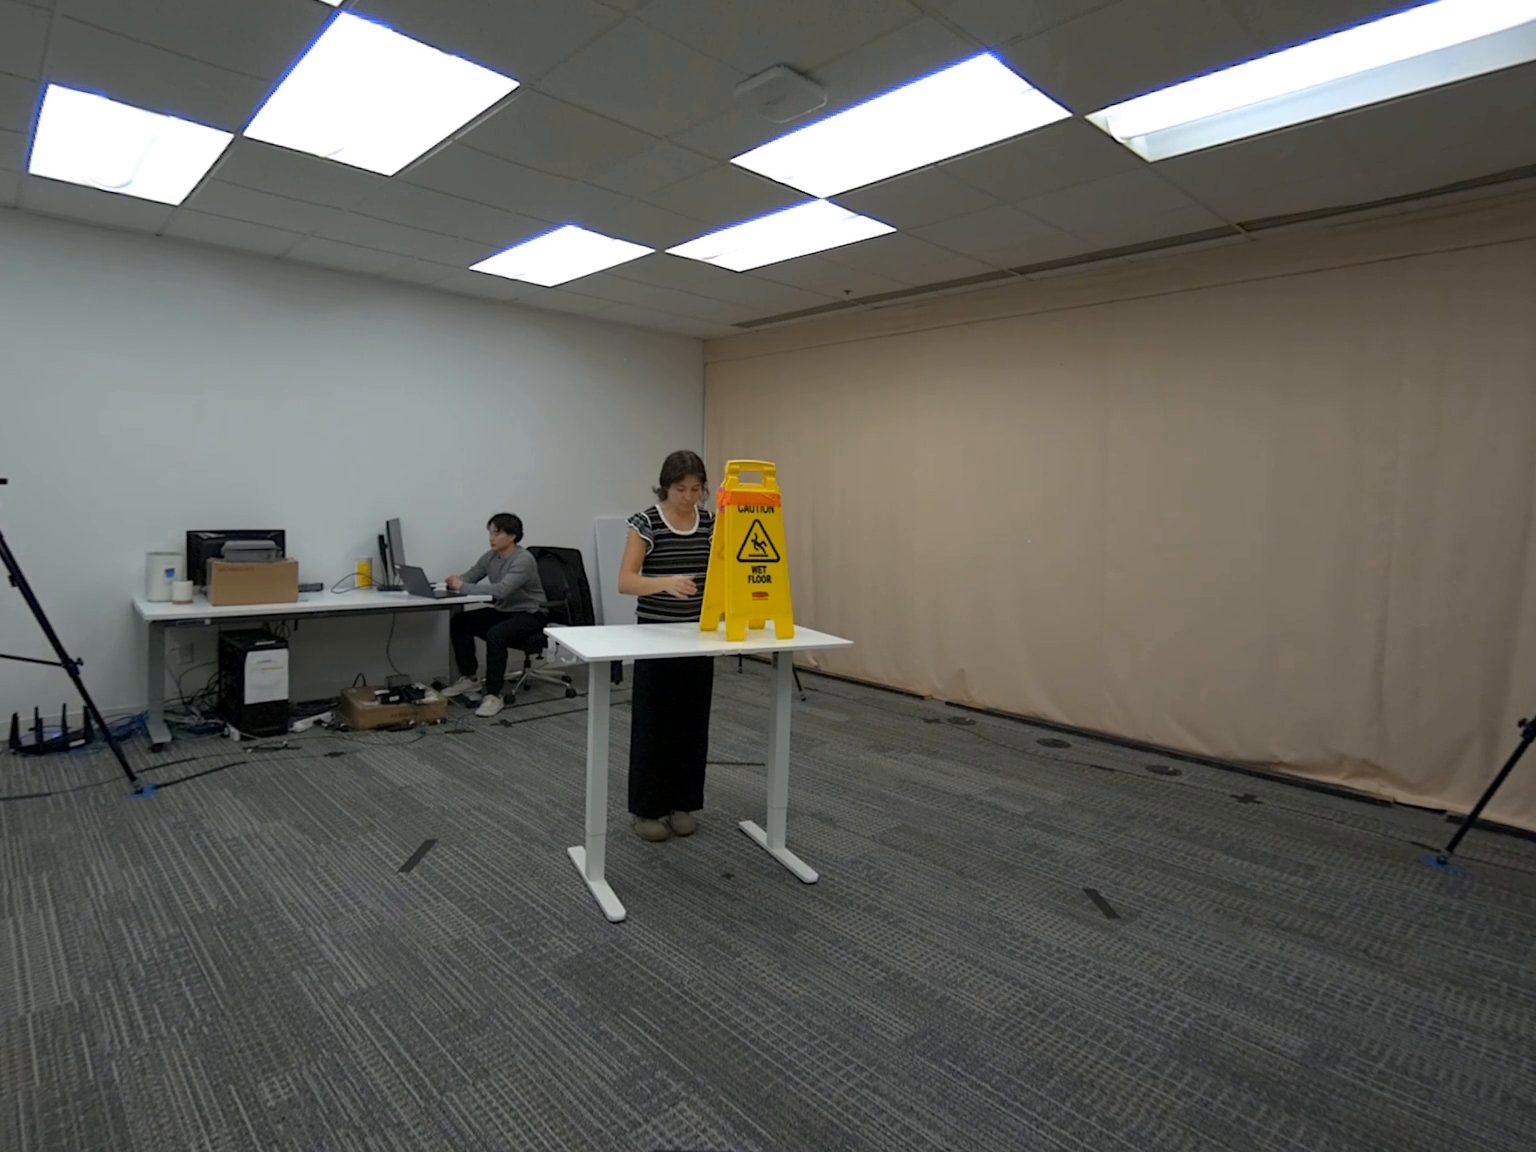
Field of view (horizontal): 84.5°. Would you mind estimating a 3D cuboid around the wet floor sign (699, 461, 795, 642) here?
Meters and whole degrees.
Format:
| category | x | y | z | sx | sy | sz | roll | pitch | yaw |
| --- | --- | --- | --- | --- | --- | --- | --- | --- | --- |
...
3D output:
| category | x | y | z | sx | sy | sz | roll | pitch | yaw |
| --- | --- | --- | --- | --- | --- | --- | --- | --- | --- |
| wet floor sign | -0.079 | -0.102 | 3.144 | 0.277 | 0.644 | 0.296 | 0 | 4 | -26 |
